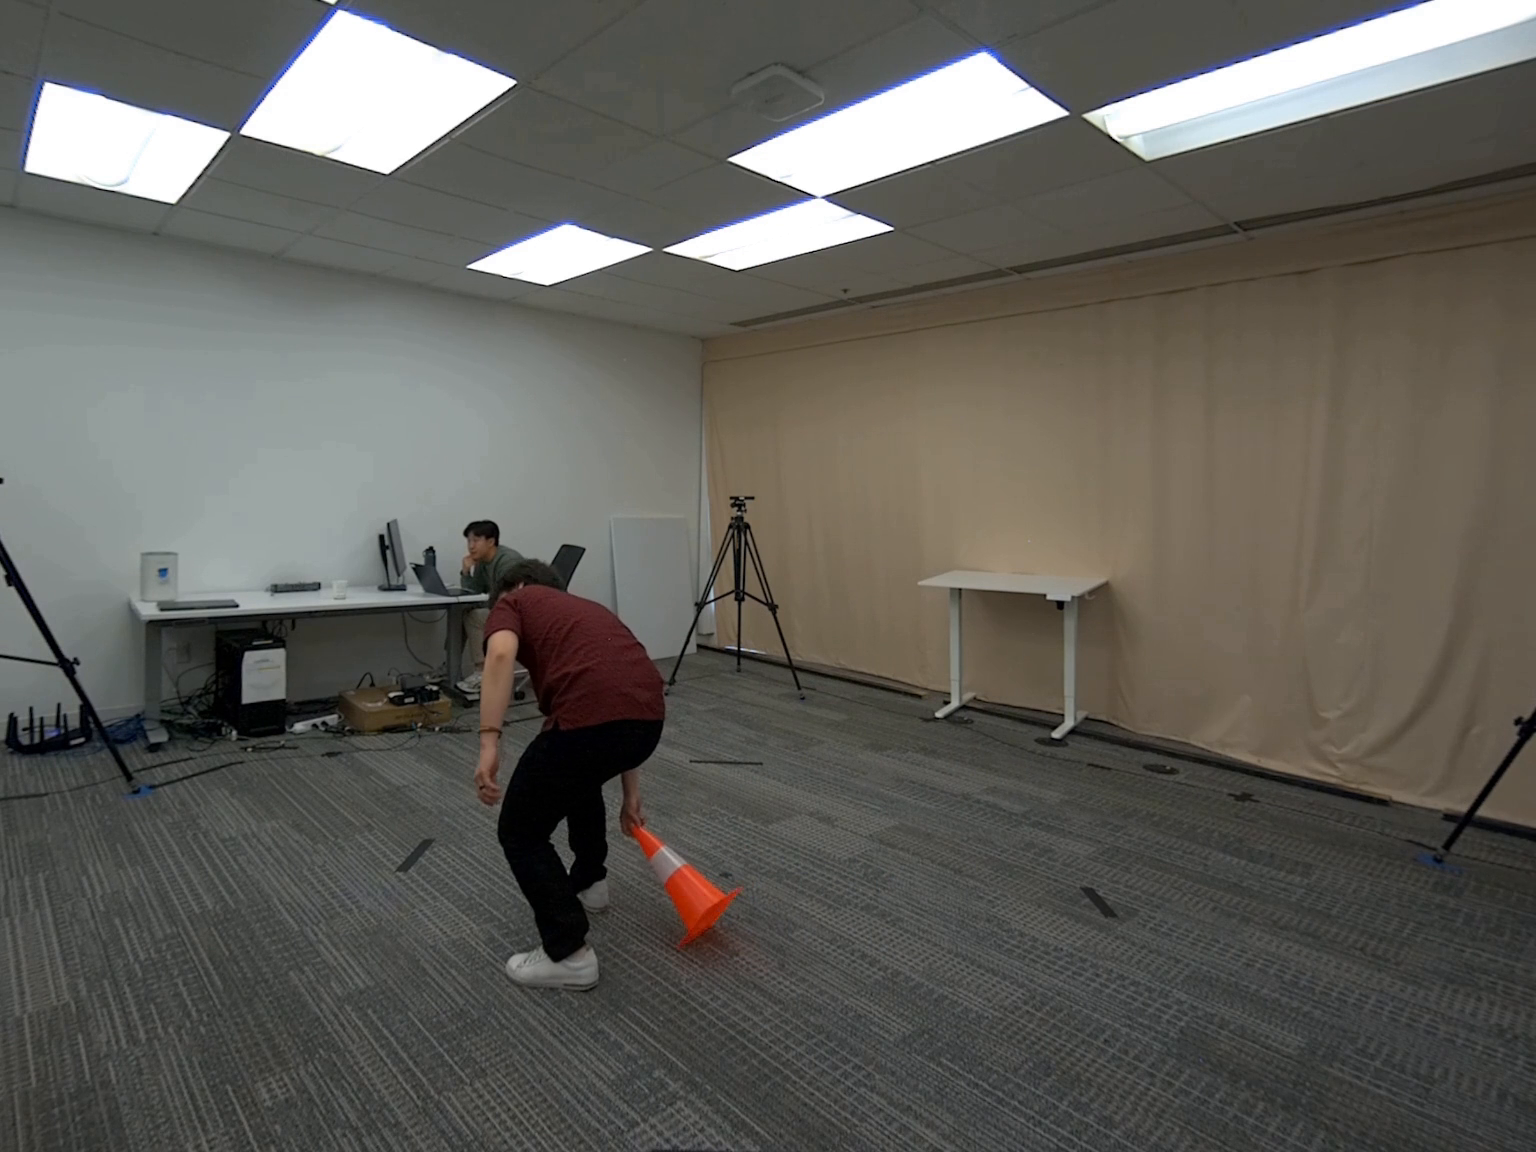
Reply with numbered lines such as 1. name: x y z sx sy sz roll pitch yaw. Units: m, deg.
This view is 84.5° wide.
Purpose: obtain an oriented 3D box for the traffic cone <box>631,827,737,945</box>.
1. traffic cone: -0.324 0.952 2.704 0.393 0.202 0.201 41 28 24
